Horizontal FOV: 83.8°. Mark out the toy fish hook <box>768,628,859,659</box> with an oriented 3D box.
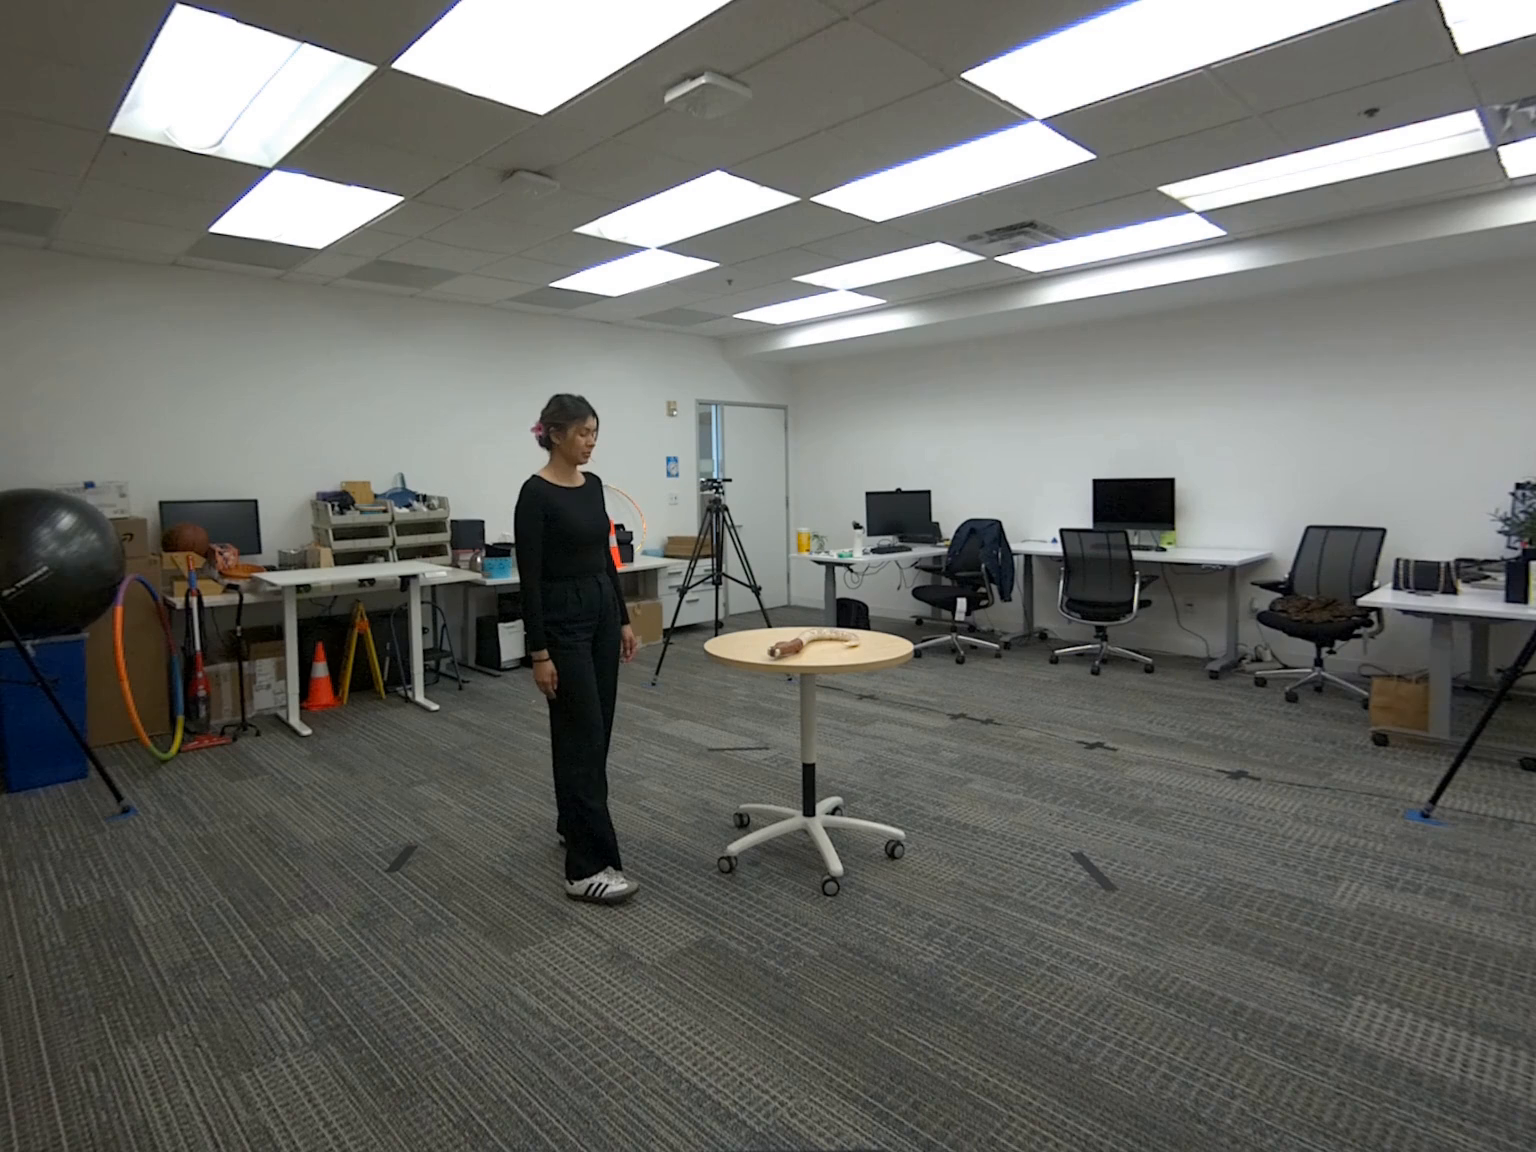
[{"bbox_3d":[0.173,0.240,3.034,0.230,0.048,0.496,2,6,28],"label":"toy fish hook"}]
